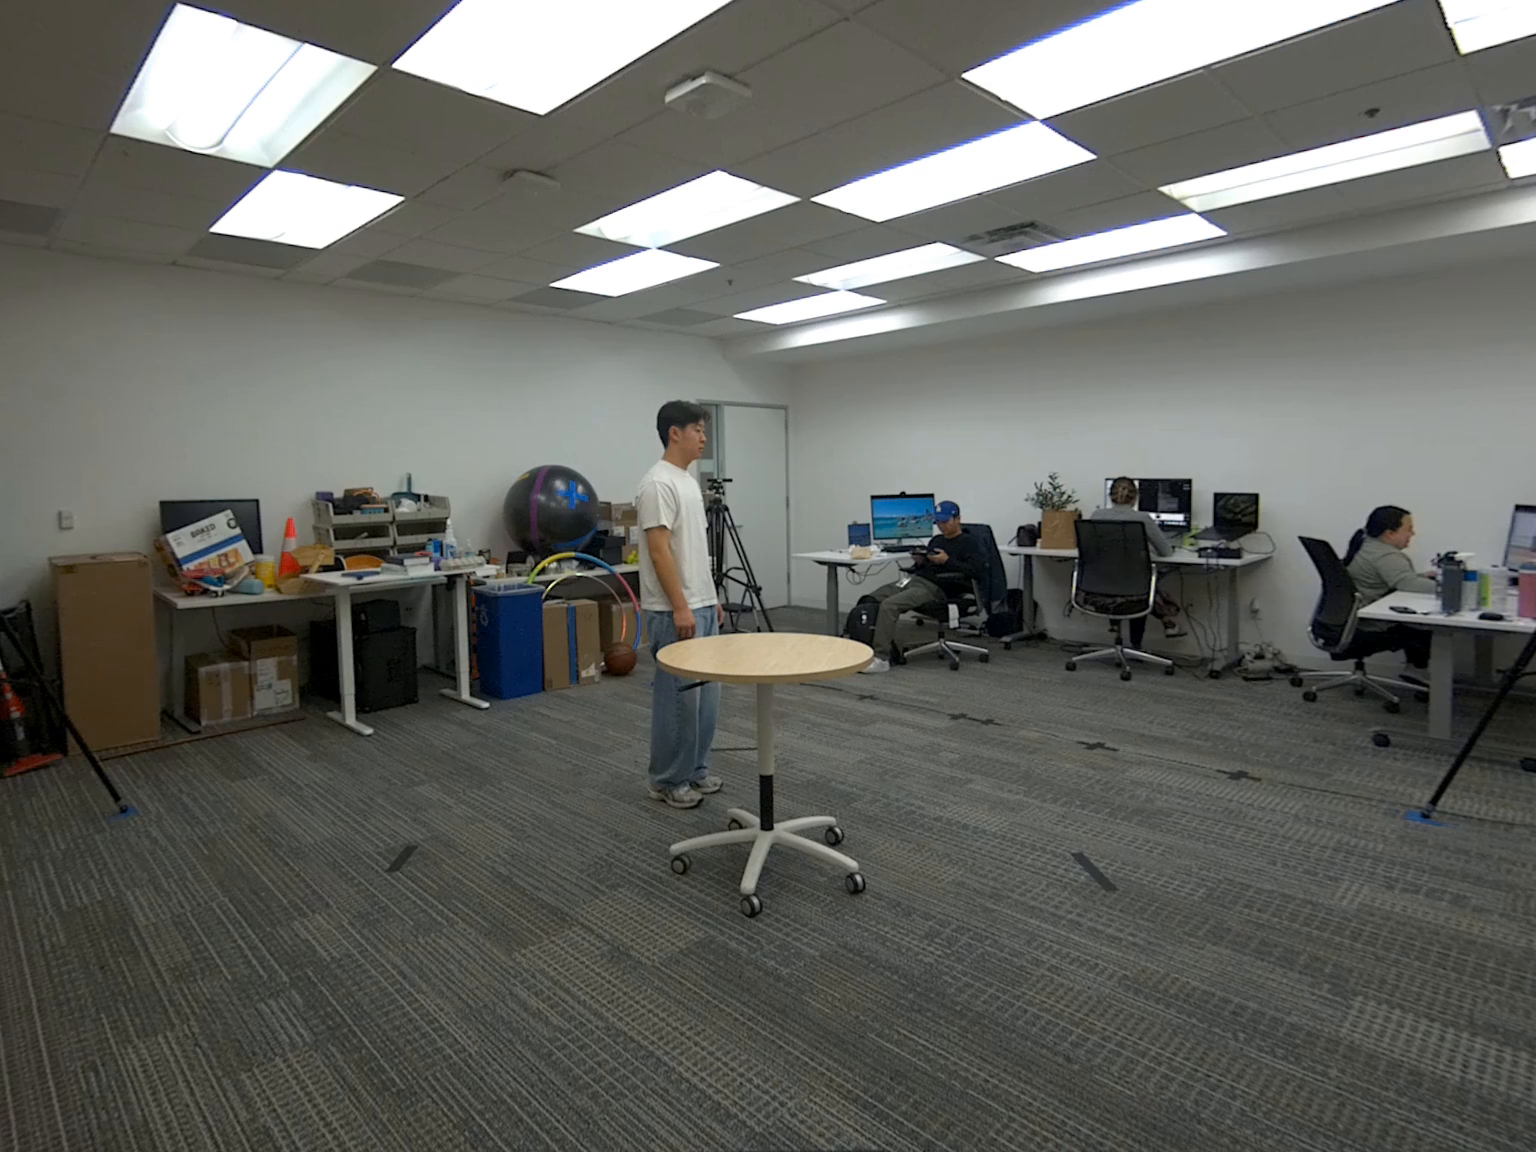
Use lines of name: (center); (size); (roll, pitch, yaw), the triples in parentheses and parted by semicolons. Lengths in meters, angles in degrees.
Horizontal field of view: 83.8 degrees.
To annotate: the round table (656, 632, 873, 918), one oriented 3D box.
round table: (-0.002, 0.661, 3.058); (0.763, 0.791, 0.767); (-1, 4, -2)
